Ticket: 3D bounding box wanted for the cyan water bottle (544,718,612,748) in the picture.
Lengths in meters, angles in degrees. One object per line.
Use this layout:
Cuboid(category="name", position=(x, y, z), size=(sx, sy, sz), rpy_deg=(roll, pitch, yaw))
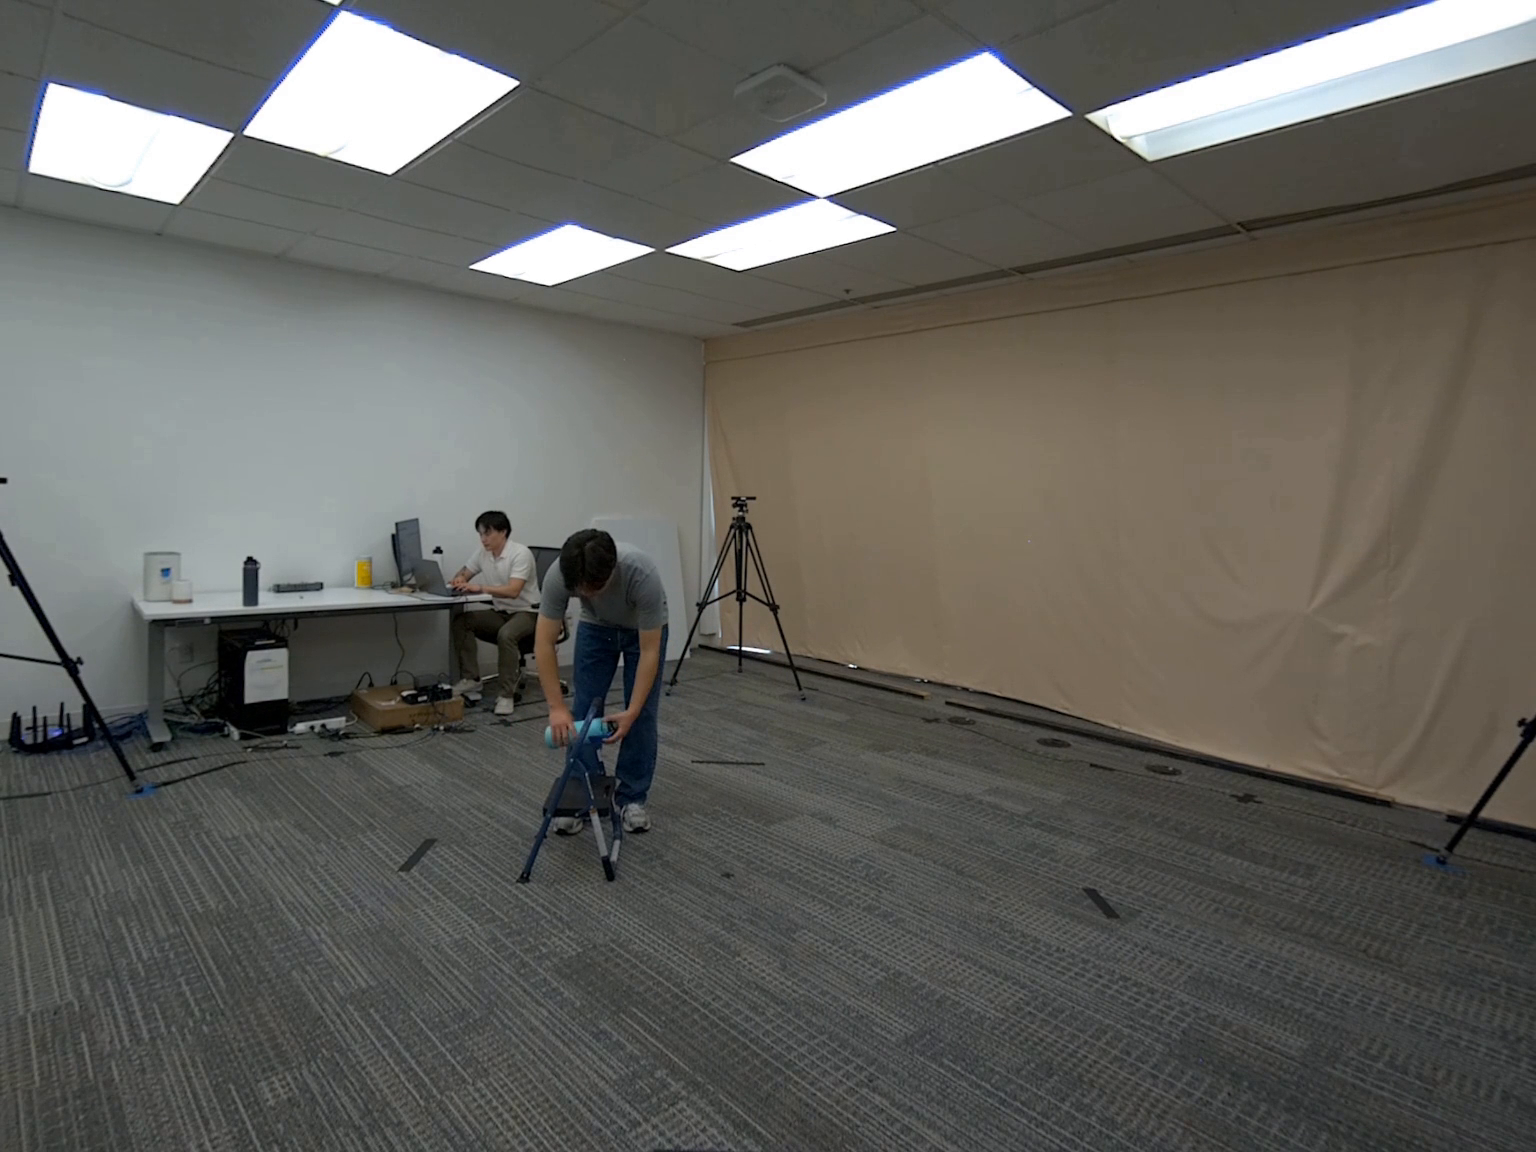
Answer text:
Cuboid(category="cyan water bottle", position=(-0.724, 0.608, 3.246), size=(0.285, 0.092, 0.092), rpy_deg=(-8, 2, 11))
